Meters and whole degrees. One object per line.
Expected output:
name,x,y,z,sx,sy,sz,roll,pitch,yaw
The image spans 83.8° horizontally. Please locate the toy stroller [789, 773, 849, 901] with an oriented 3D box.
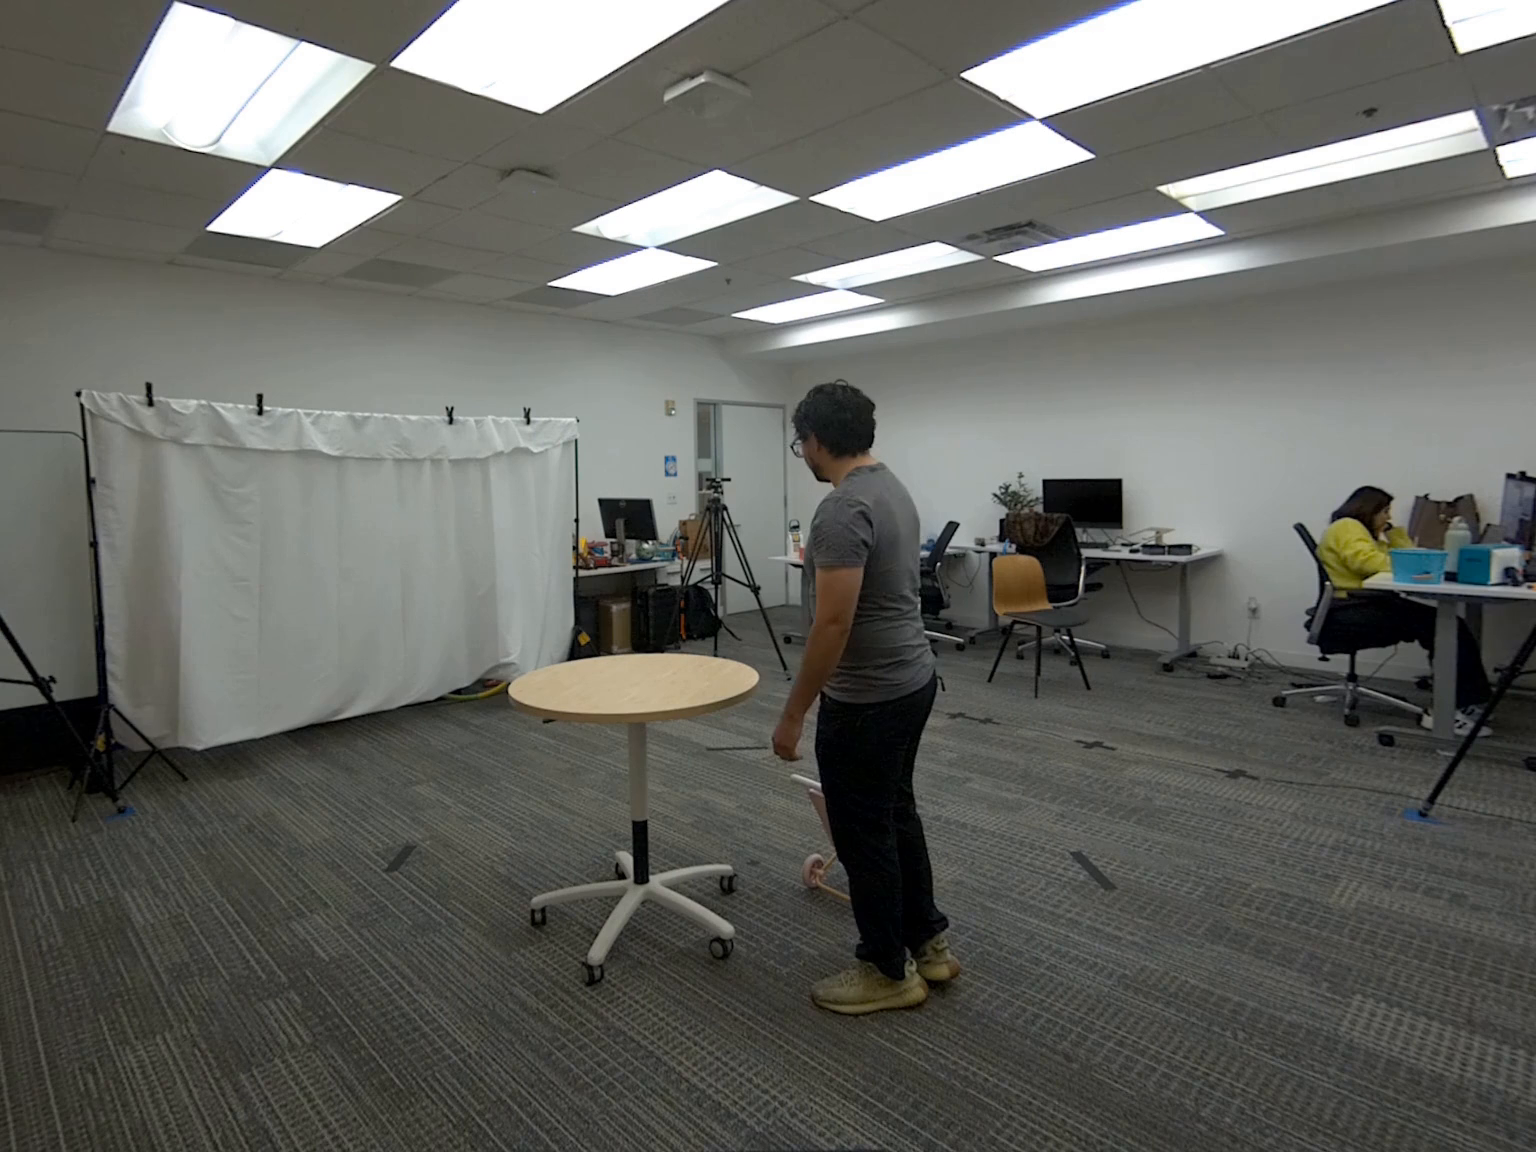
toy stroller,0.296,0.839,2.853,0.336,0.527,0.290,-23,17,-36
